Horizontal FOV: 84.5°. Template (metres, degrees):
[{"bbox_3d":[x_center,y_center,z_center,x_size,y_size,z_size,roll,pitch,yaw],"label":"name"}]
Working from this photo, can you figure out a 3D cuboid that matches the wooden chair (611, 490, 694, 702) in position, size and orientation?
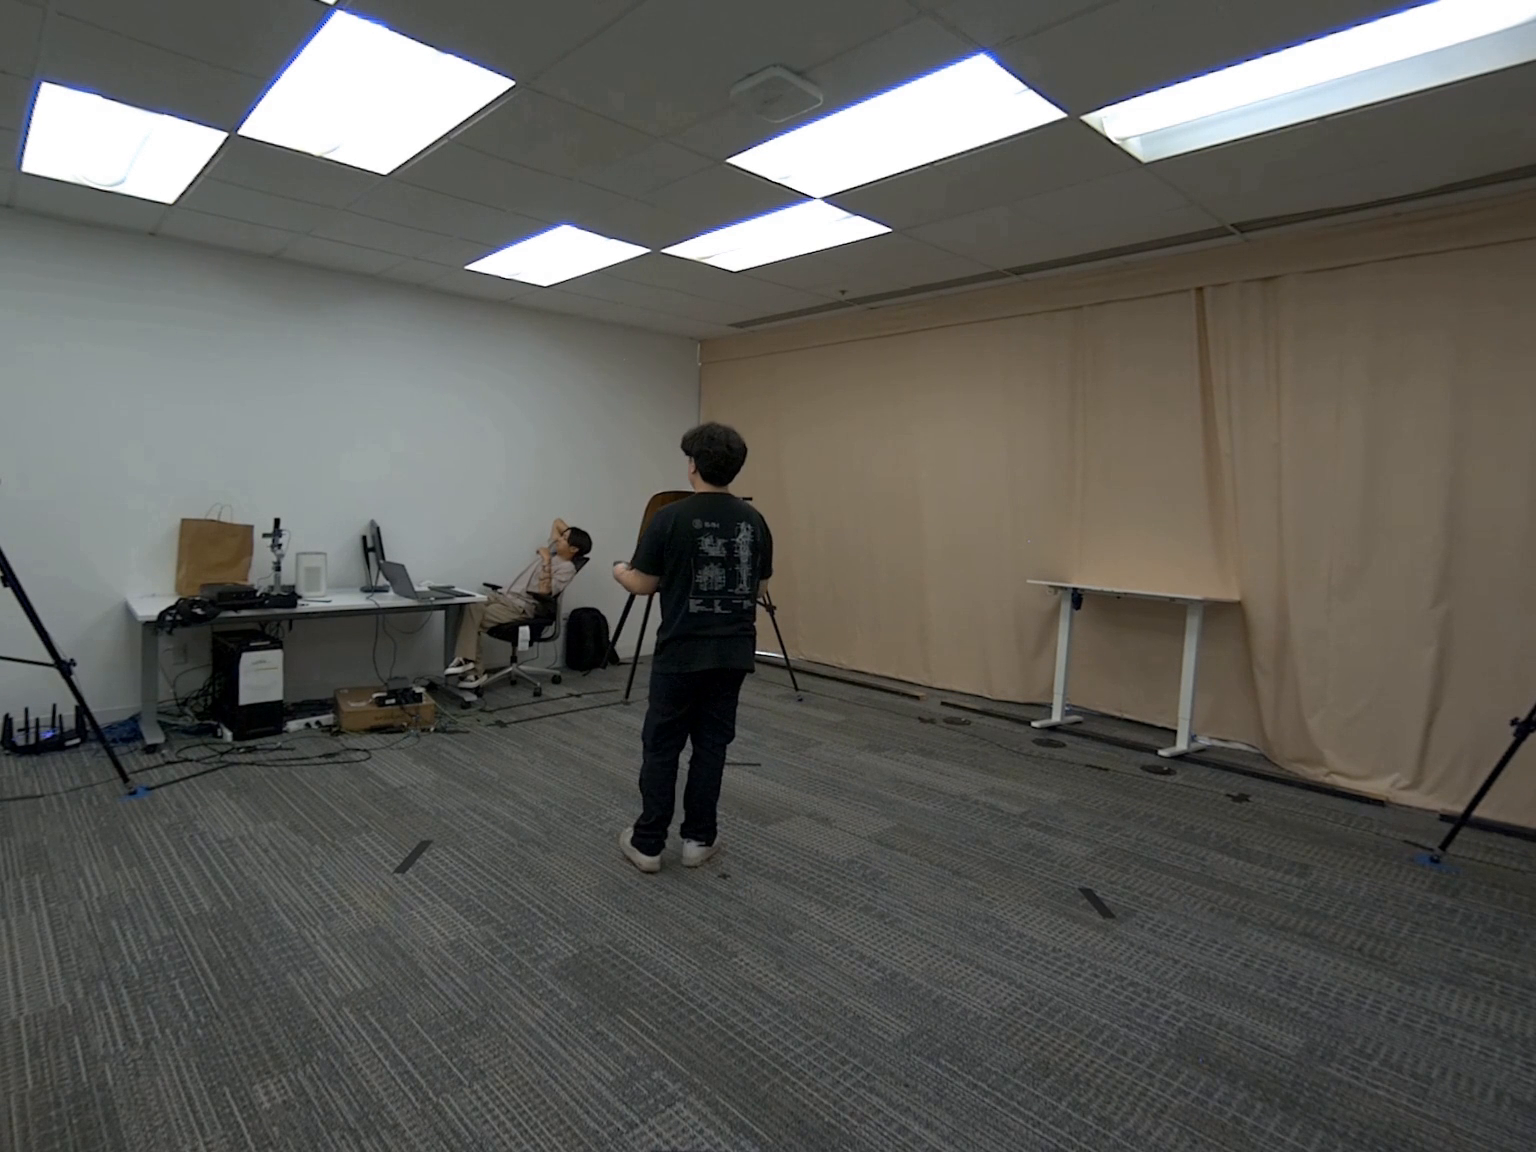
[{"bbox_3d":[-0.406,0.049,3.551,0.470,0.872,0.535,3,10,-22],"label":"wooden chair"}]
